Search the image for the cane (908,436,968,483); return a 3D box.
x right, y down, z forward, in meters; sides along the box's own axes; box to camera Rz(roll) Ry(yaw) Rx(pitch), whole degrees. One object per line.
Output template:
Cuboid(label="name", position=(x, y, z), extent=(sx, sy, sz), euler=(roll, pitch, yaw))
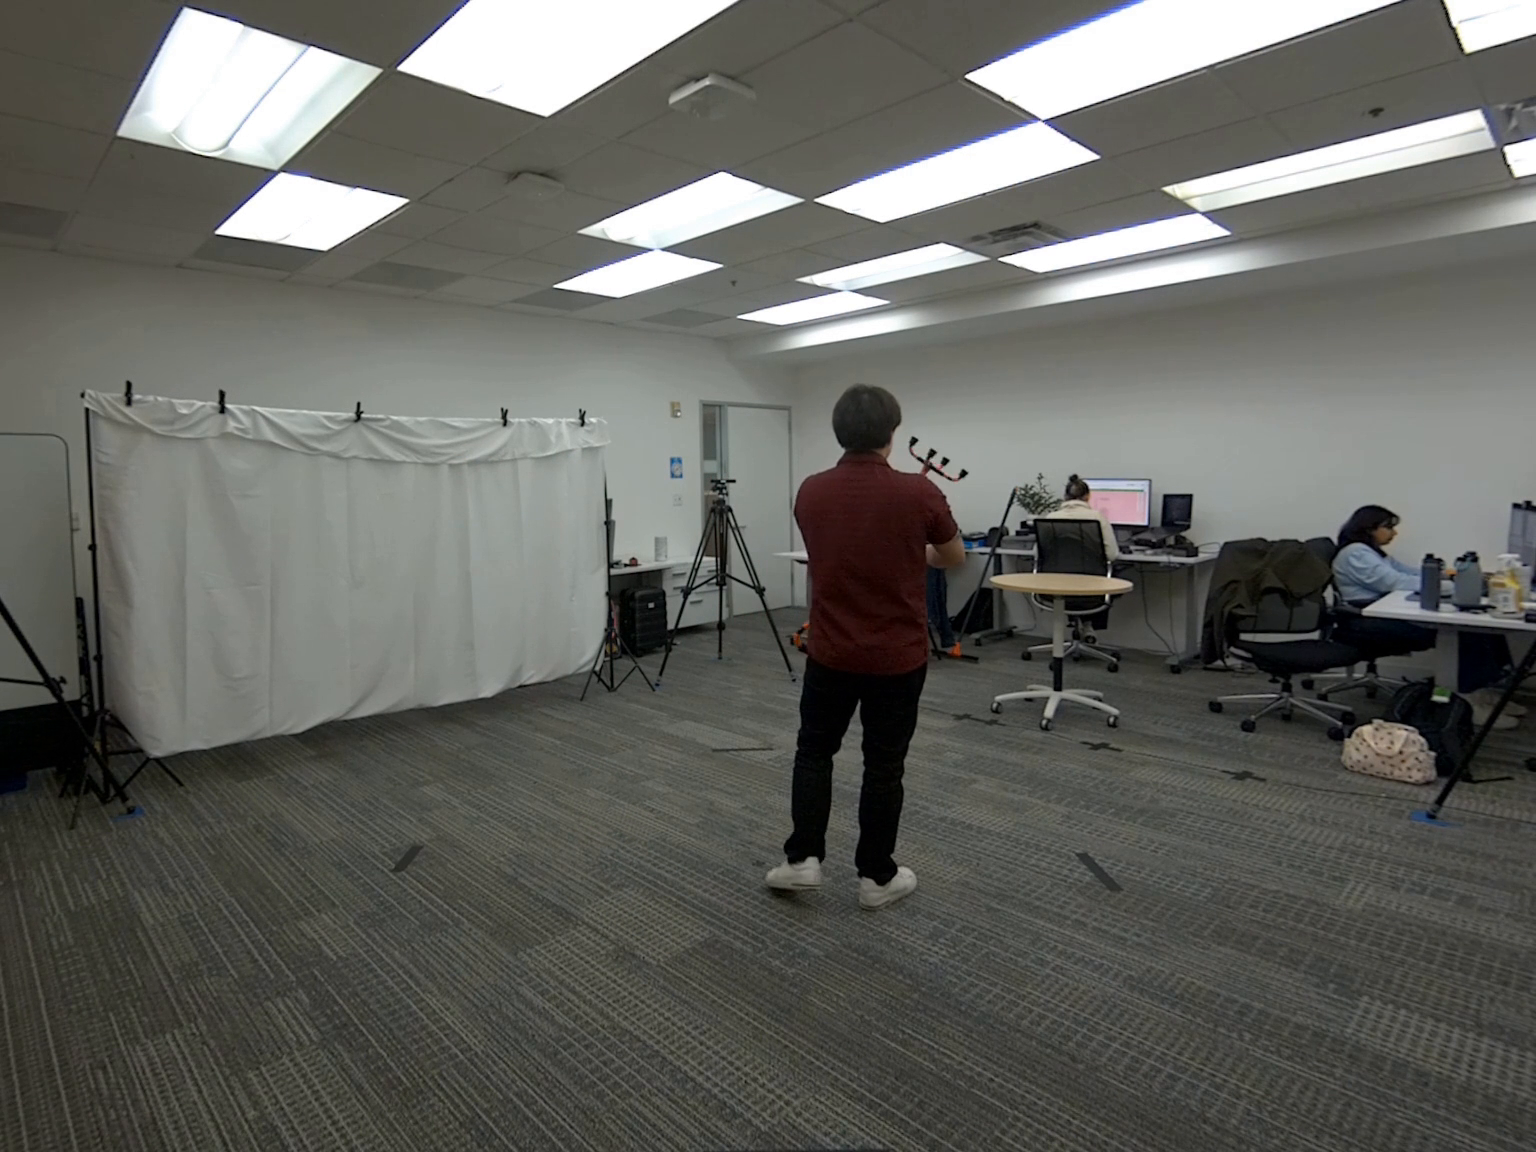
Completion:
Cuboid(label="cane", position=(0.380, -0.072, 3.197), extent=(0.200, 0.905, 0.157), euler=(25, 14, -31))
